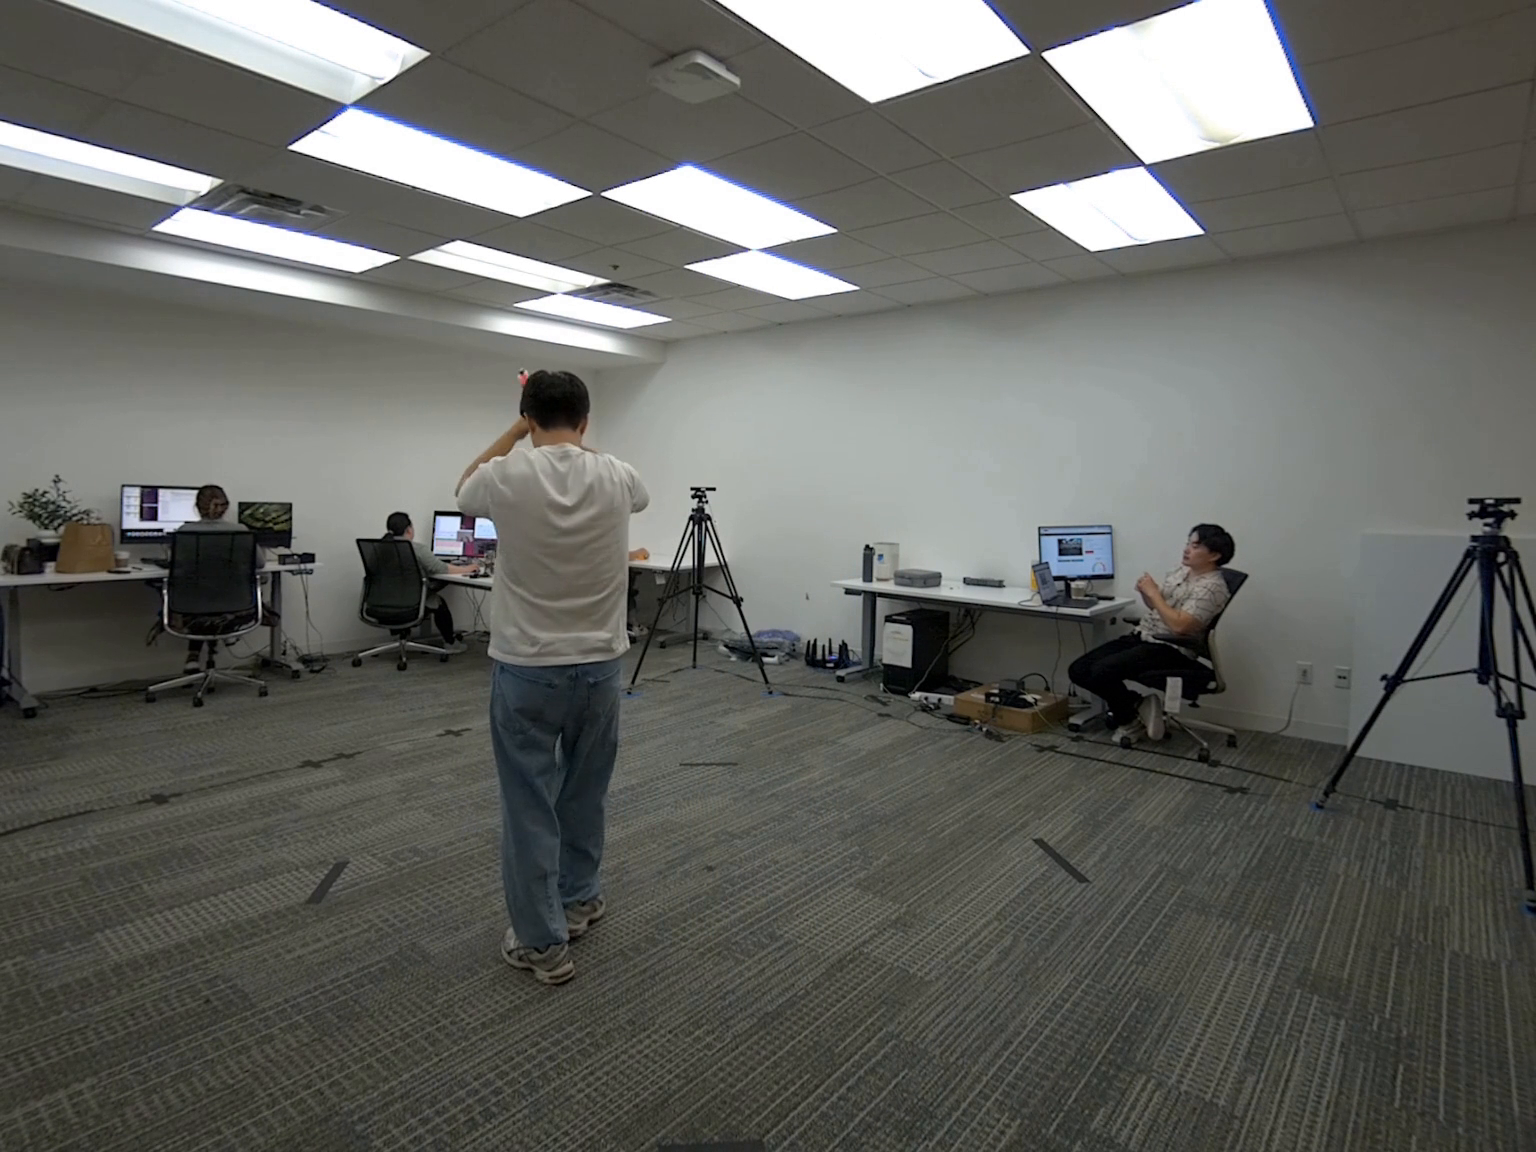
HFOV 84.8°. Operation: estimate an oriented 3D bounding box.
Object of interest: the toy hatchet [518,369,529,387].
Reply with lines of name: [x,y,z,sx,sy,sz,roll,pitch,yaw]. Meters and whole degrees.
toy hatchet: [-0.755,-0.521,2.703,0.029,0.261,0.136,-15,45,-9]
